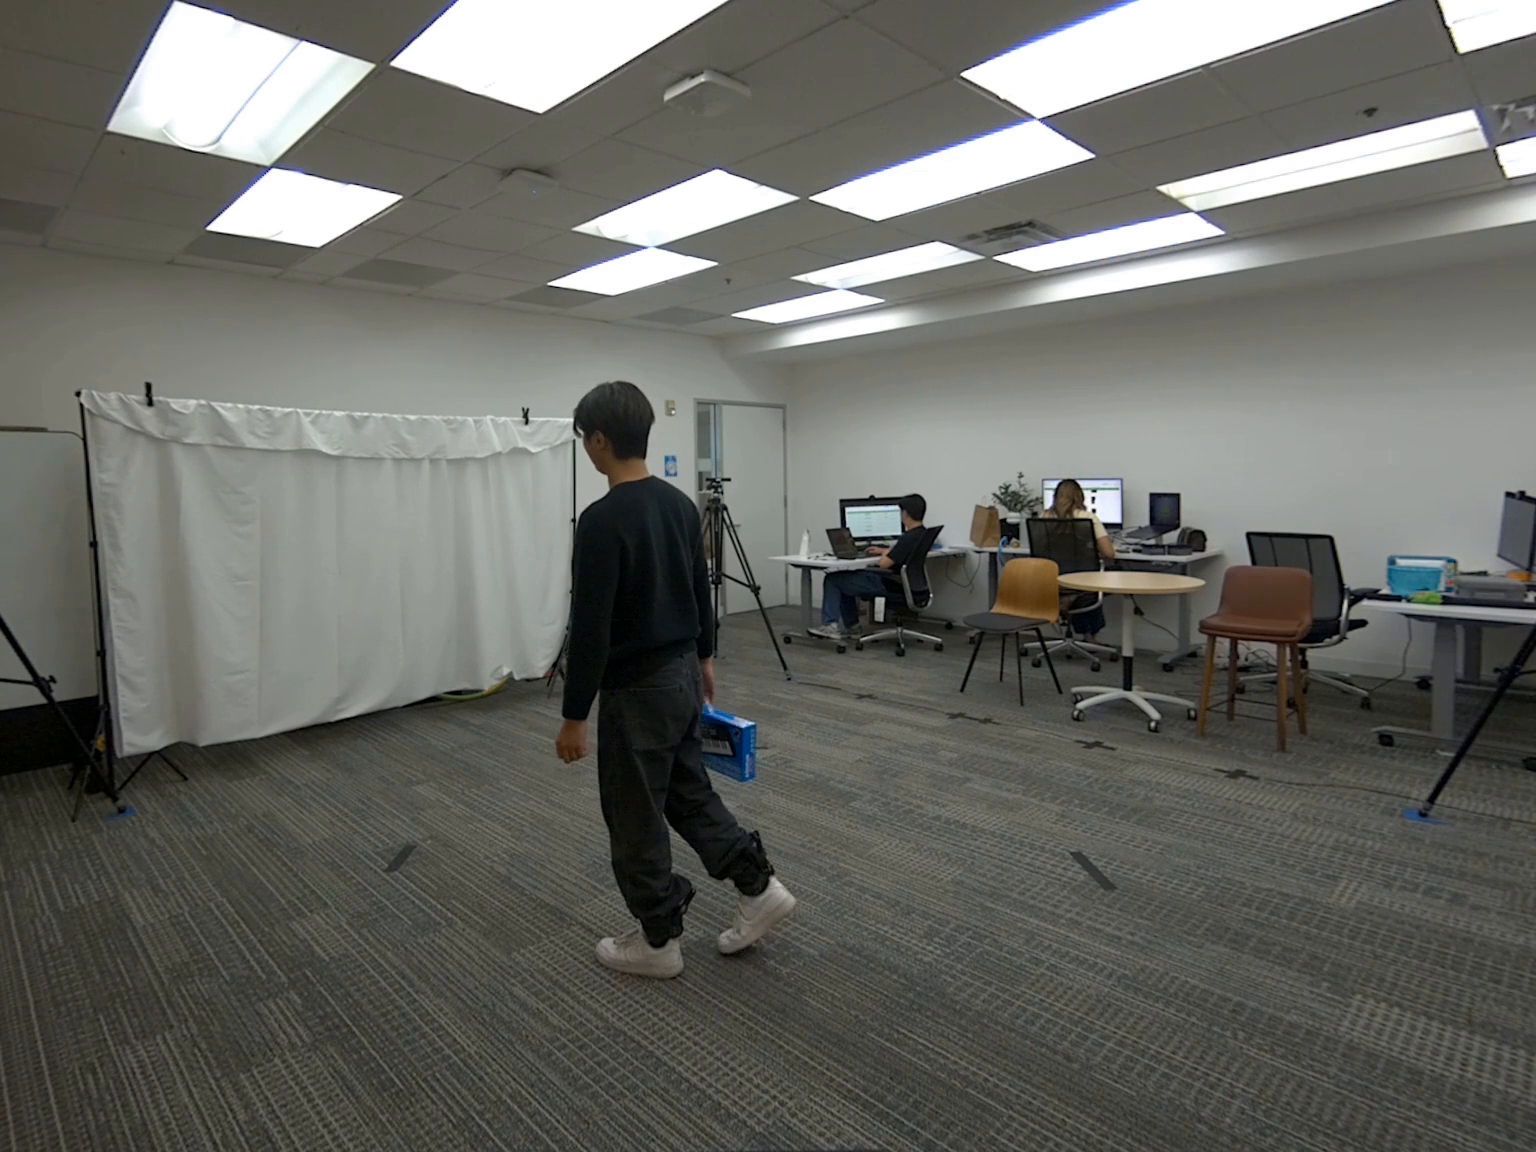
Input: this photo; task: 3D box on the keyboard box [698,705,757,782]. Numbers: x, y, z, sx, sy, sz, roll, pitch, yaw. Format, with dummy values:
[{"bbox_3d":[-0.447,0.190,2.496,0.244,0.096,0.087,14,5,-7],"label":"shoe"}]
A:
[{"bbox_3d":[-0.208,0.507,2.728,0.057,0.175,0.451,-5,10,-44],"label":"keyboard box"}]
